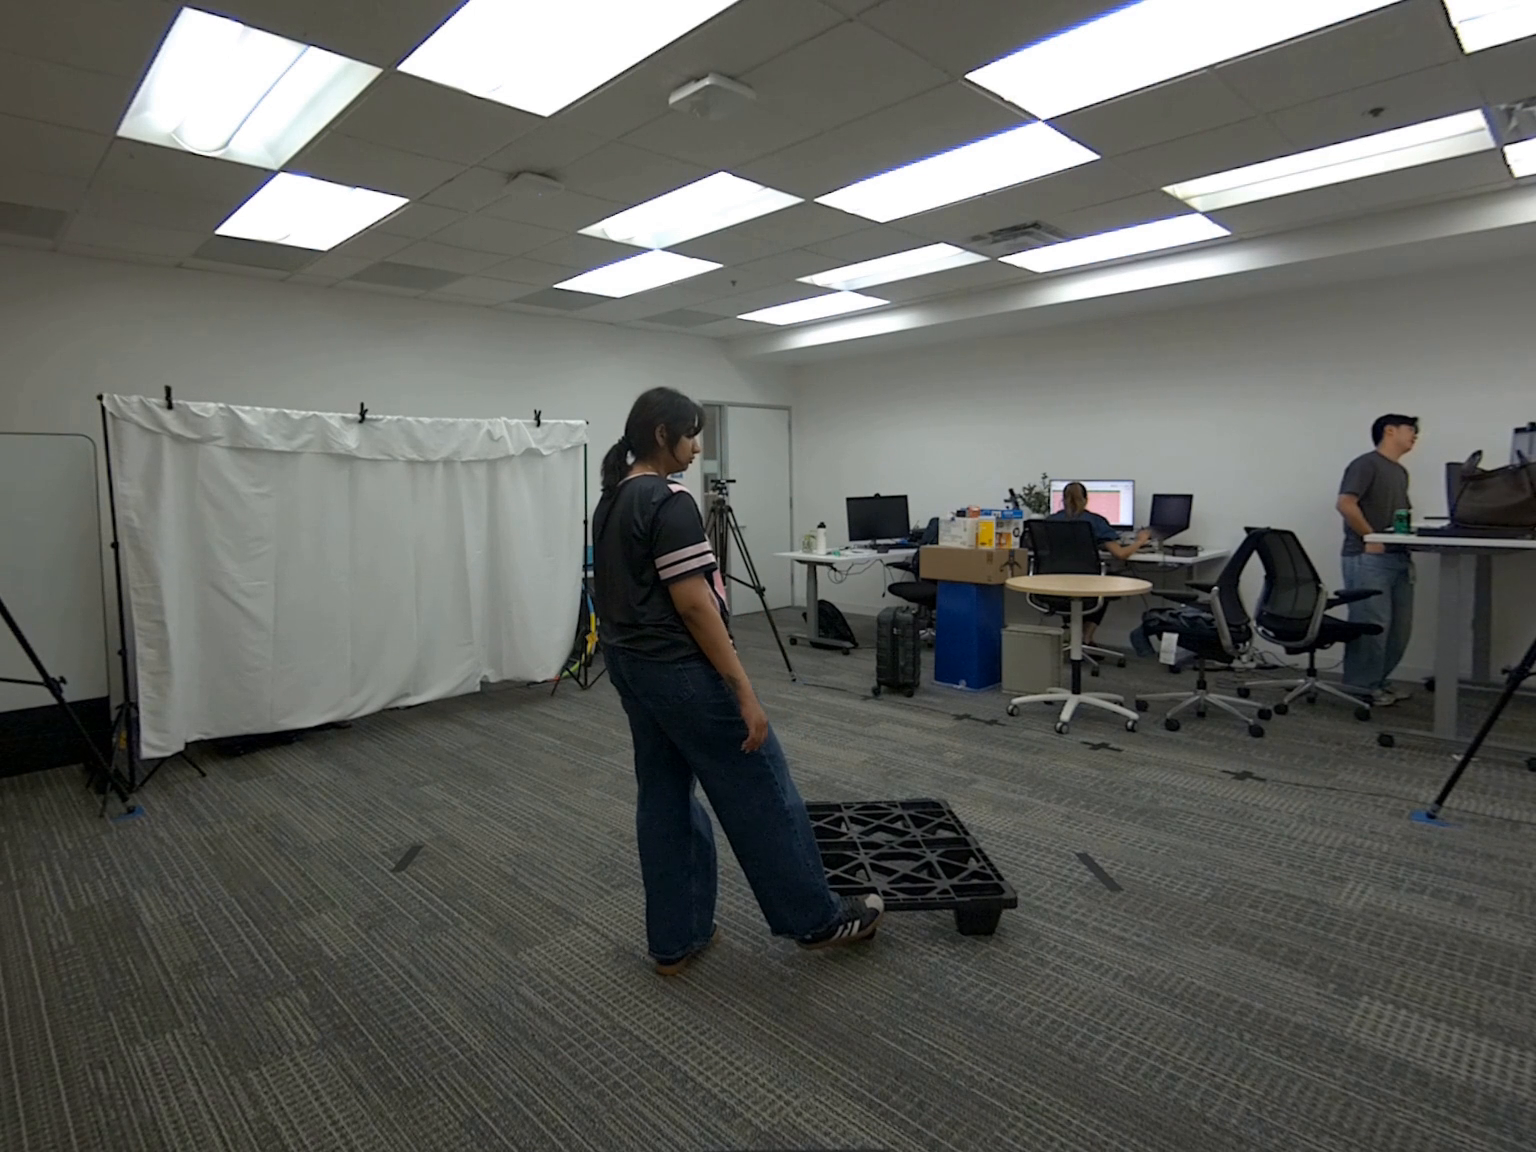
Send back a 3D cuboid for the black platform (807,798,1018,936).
[{"bbox_3d":[0.431,0.989,2.950,0.604,0.142,0.811,-2,6,-3],"label":"black platform"}]
